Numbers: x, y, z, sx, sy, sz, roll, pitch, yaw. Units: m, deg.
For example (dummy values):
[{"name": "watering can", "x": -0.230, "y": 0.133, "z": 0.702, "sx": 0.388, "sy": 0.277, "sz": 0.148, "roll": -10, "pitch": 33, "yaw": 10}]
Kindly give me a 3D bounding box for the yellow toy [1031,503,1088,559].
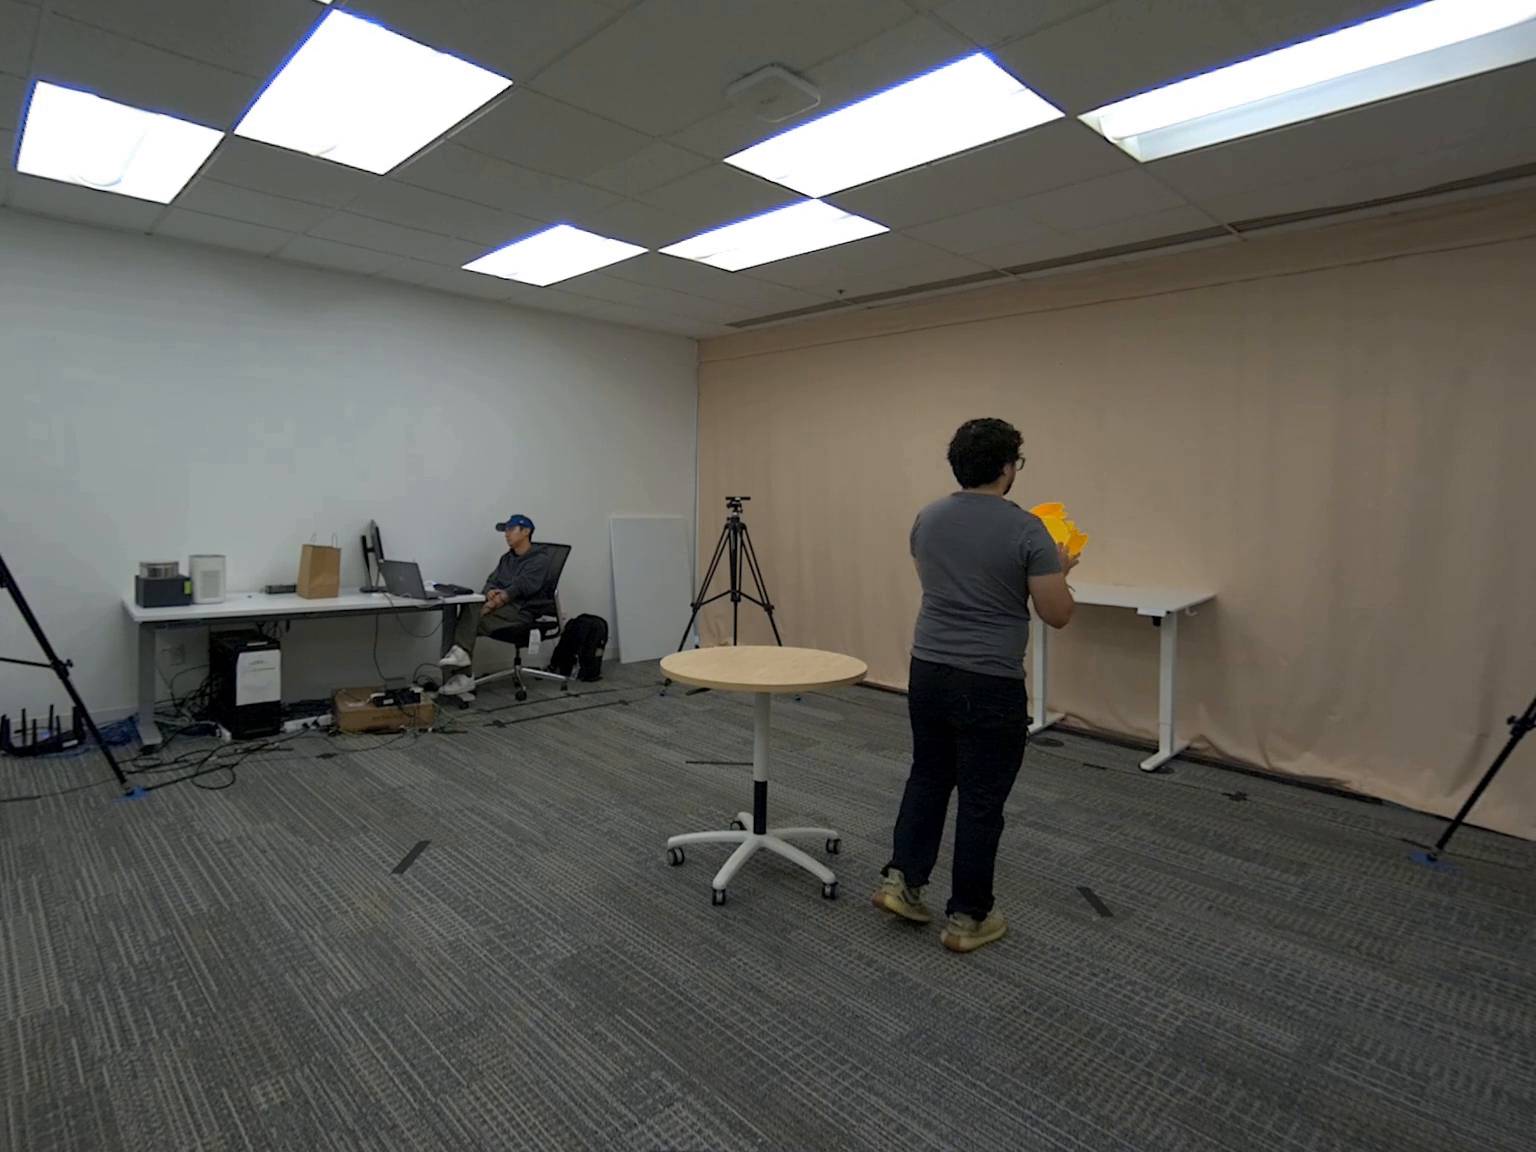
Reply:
[{"name": "yellow toy", "x": 0.922, "y": -0.101, "z": 2.904, "sx": 0.192, "sy": 0.209, "sz": 0.226, "roll": -26, "pitch": -21, "yaw": -10}]
